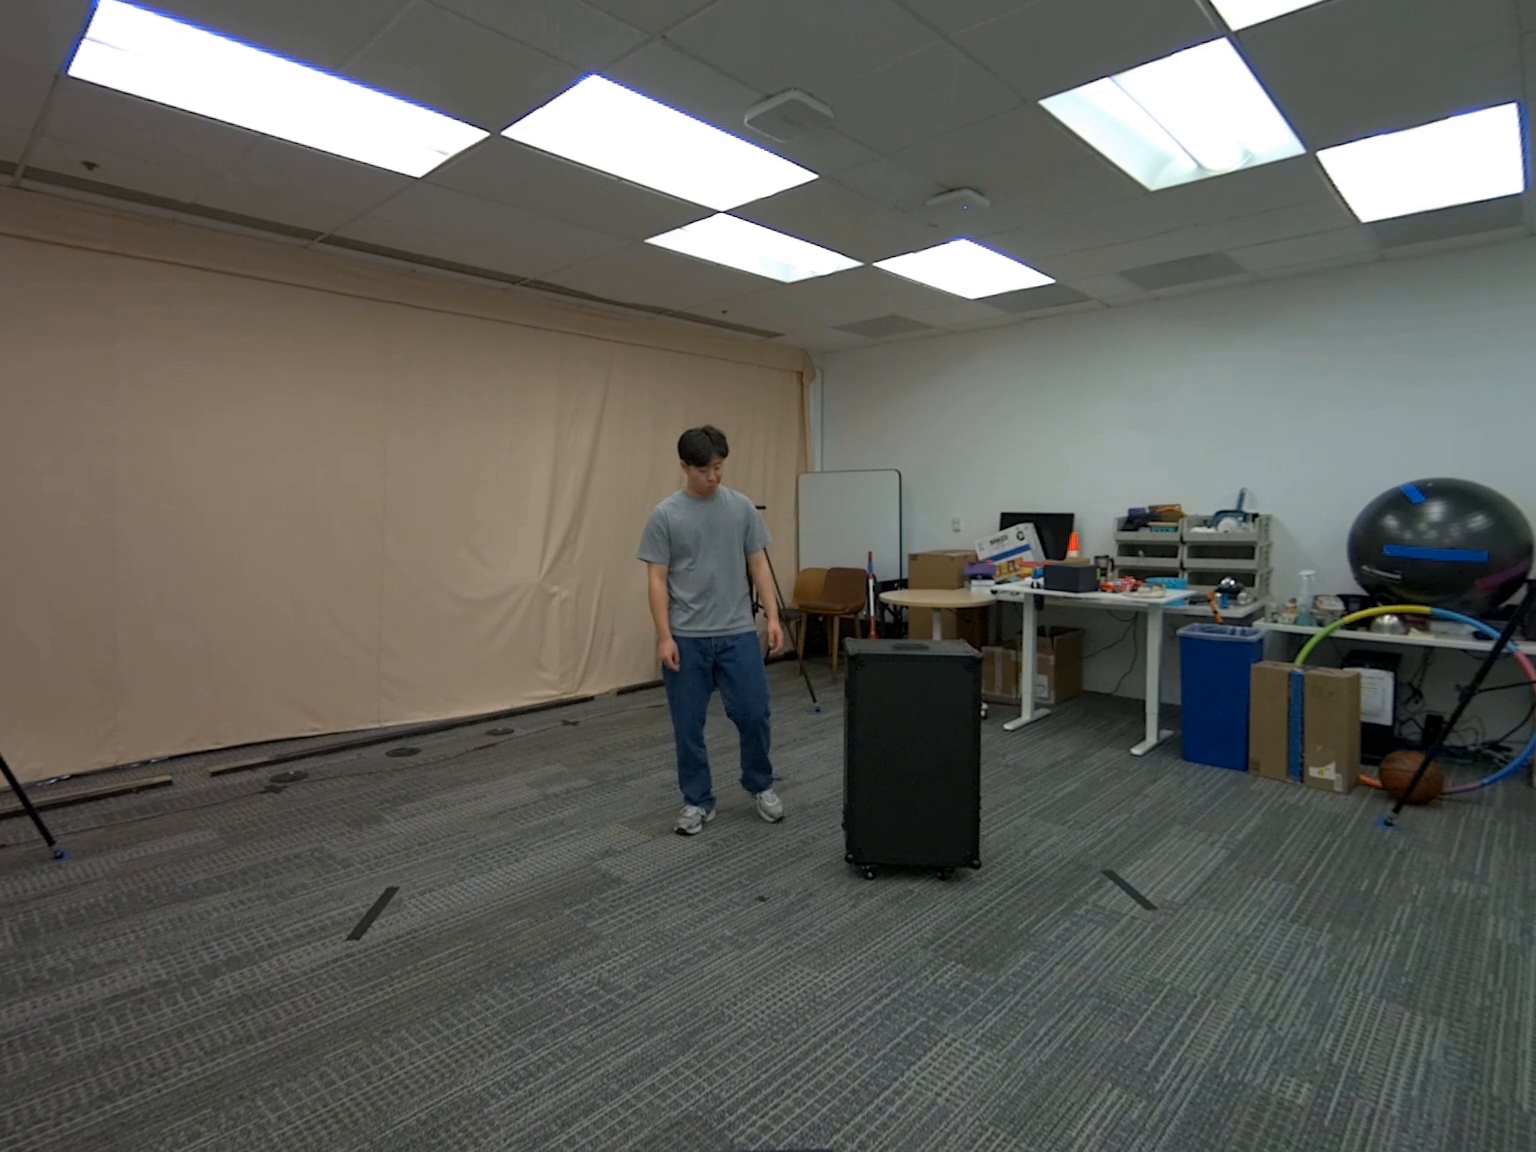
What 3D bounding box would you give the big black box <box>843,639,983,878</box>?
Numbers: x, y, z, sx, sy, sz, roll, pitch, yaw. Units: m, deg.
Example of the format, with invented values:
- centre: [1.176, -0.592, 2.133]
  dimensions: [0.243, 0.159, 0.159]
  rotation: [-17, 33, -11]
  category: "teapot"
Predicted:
- centre: [0.543, 0.694, 3.257]
  dimensions: [0.525, 0.860, 0.394]
  rotation: [0, 2, 5]
  category: "big black box"
